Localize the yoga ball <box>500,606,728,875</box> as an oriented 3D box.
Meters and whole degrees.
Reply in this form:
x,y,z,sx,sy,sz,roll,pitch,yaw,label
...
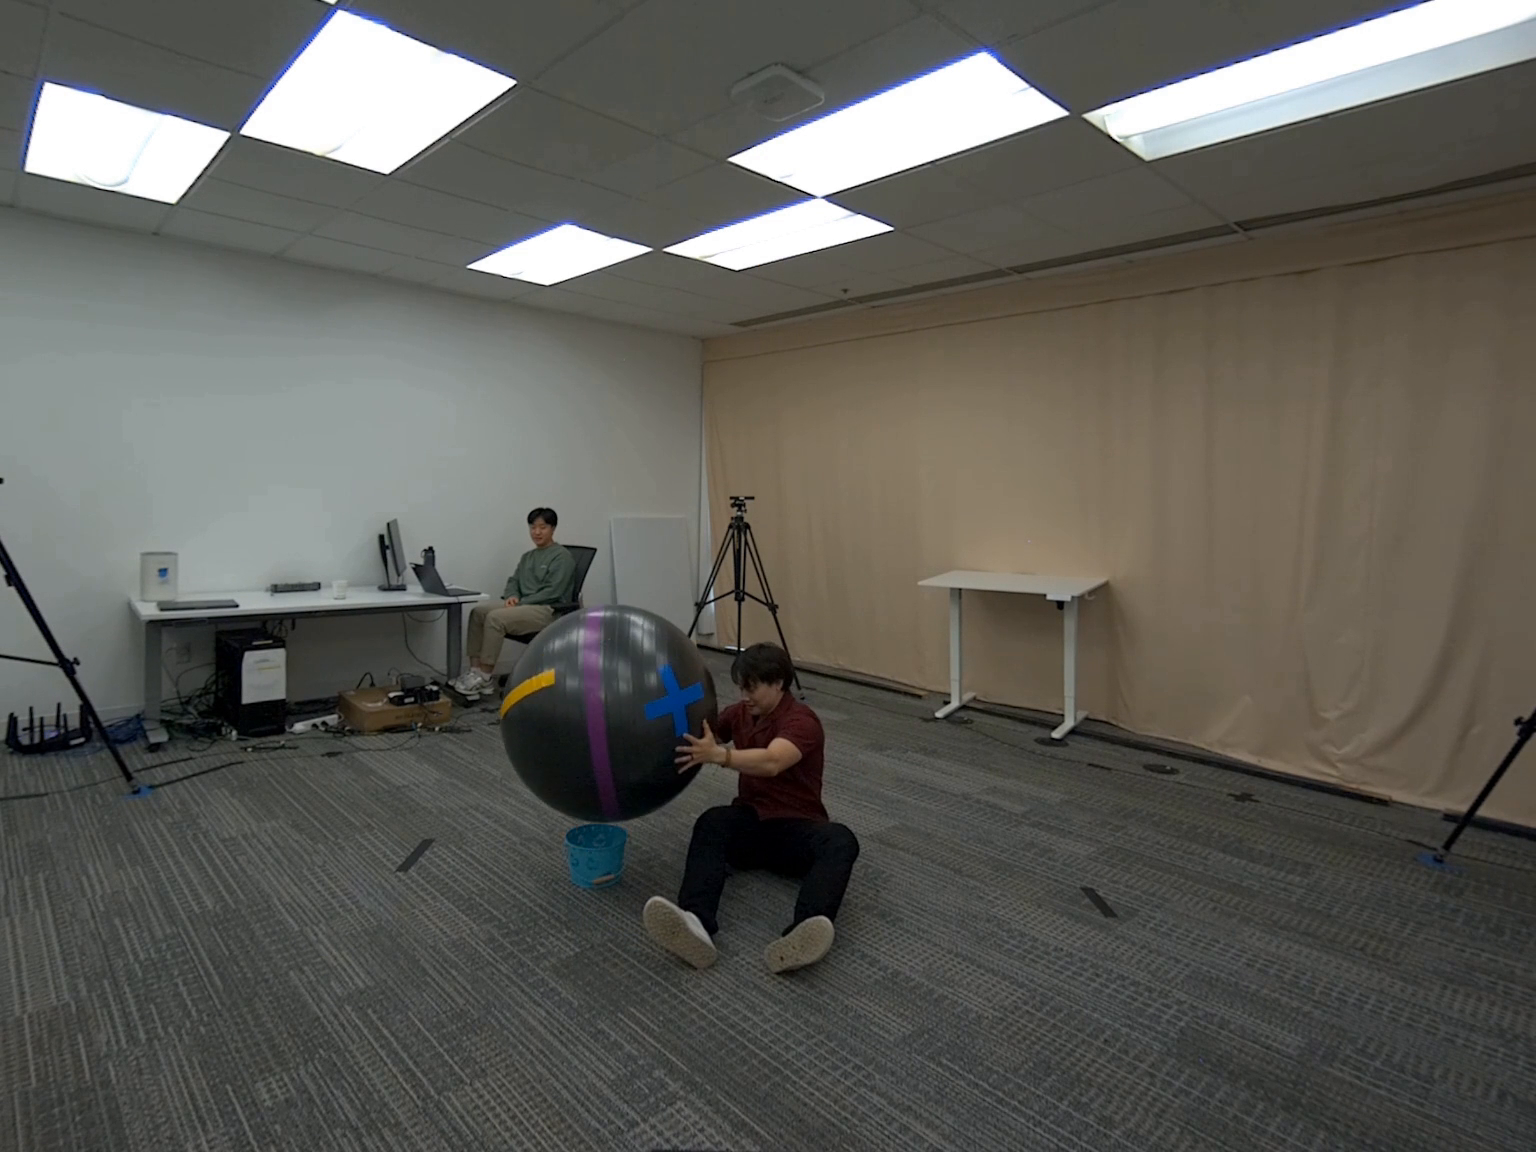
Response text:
x,y,z,sx,sy,sz,roll,pitch,yaw,label
-0.561,0.482,2.993,0.757,0.756,0.761,1,4,-1,yoga ball
